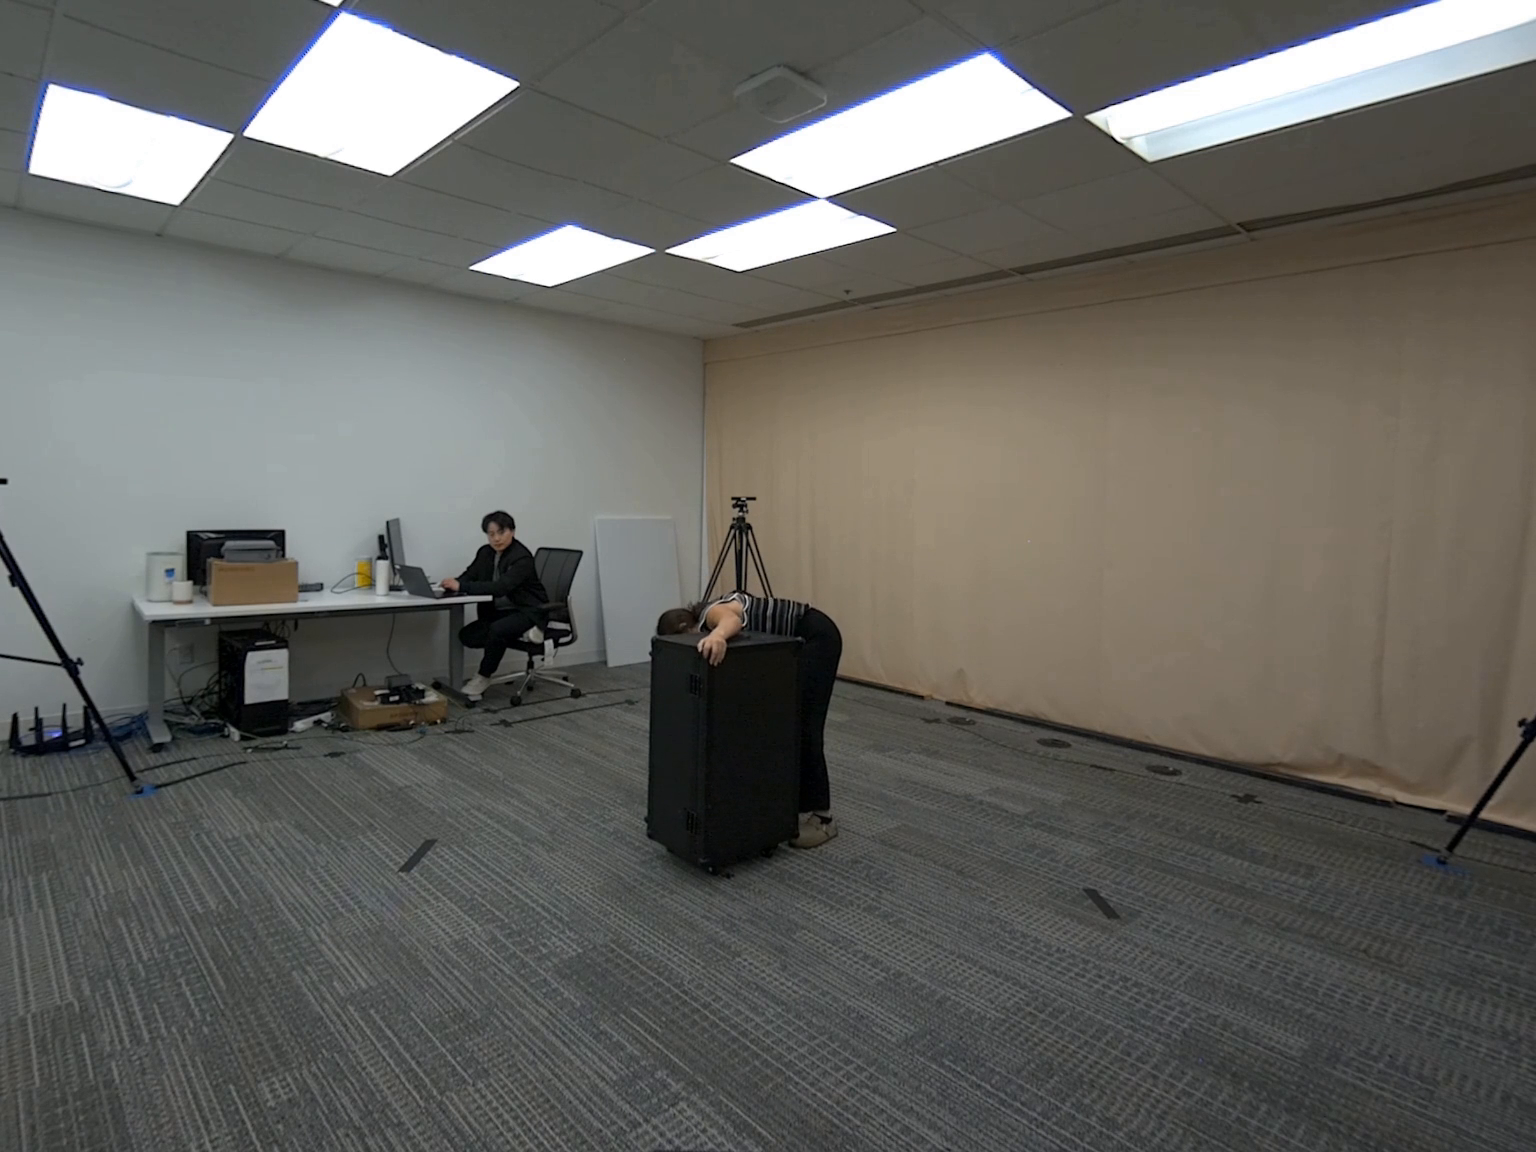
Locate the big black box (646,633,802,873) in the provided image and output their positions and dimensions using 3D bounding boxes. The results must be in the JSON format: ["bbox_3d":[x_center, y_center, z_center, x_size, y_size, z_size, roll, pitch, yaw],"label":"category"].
[{"bbox_3d":[-0.188,0.666,3.272,0.509,0.861,0.406,0,1,-41],"label":"big black box"}]
